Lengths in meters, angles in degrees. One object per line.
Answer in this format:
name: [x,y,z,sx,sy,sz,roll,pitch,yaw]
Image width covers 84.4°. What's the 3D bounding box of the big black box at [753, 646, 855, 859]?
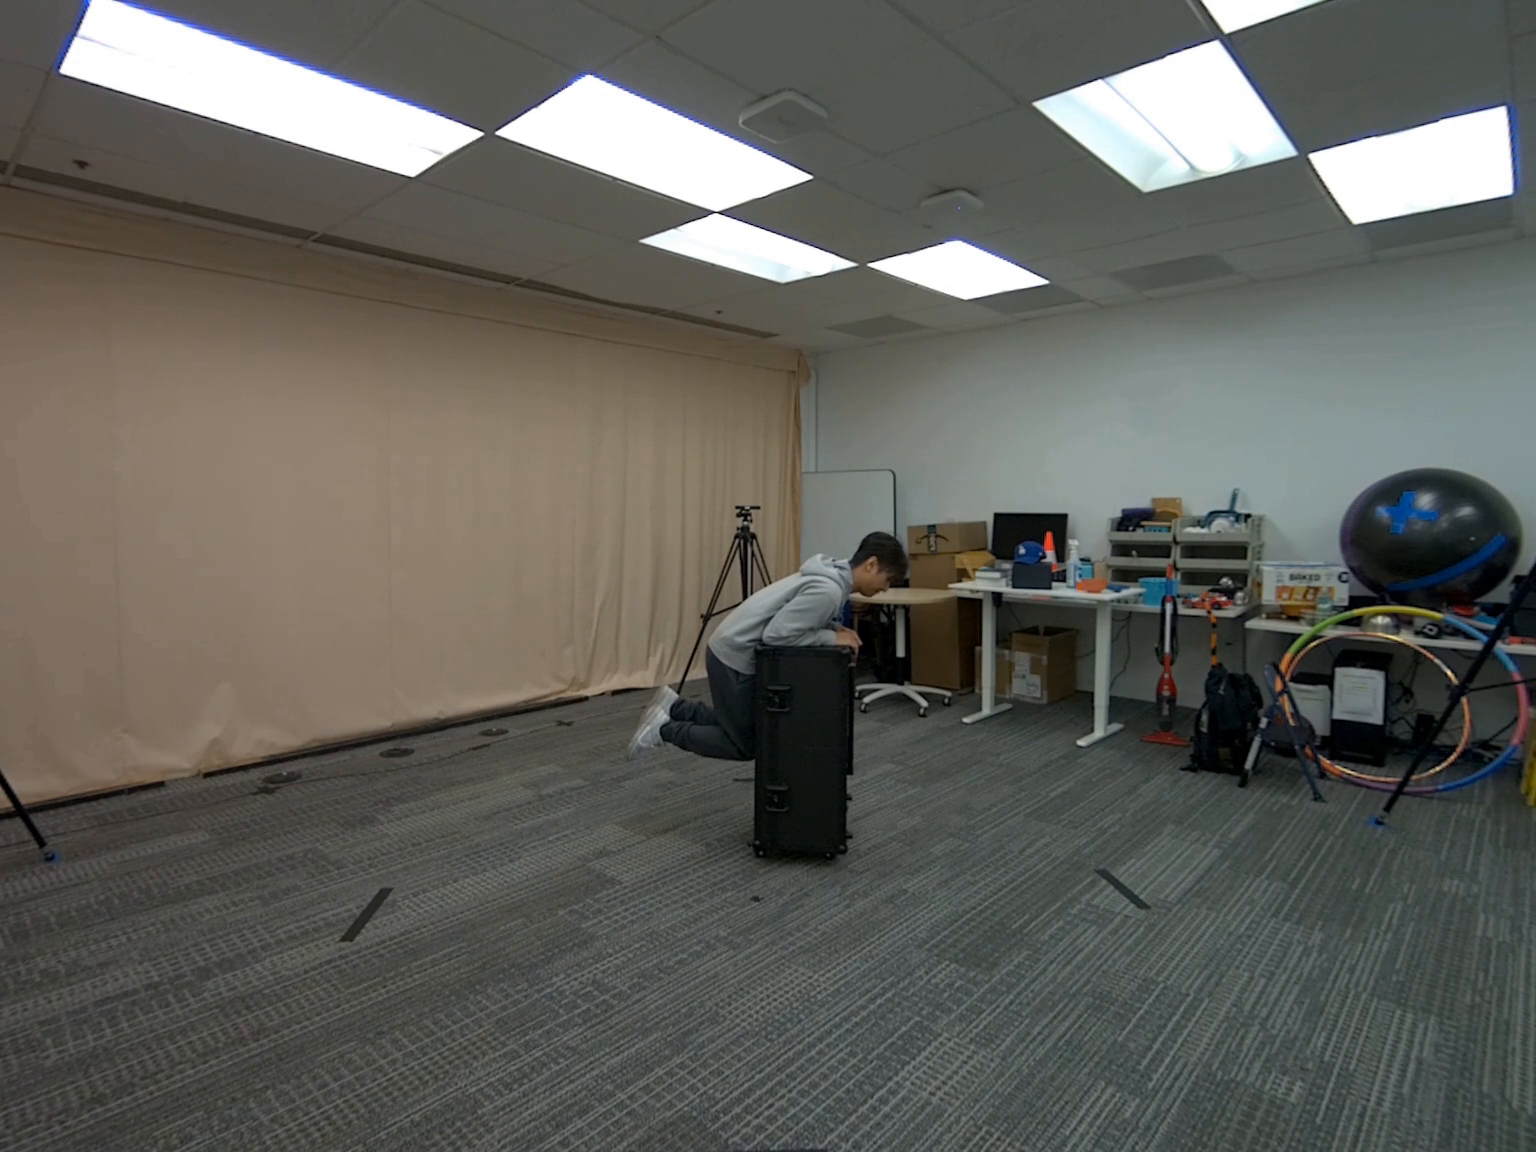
big black box: [0.159,0.688,3.441,0.400,0.859,0.518,0,4,7]
